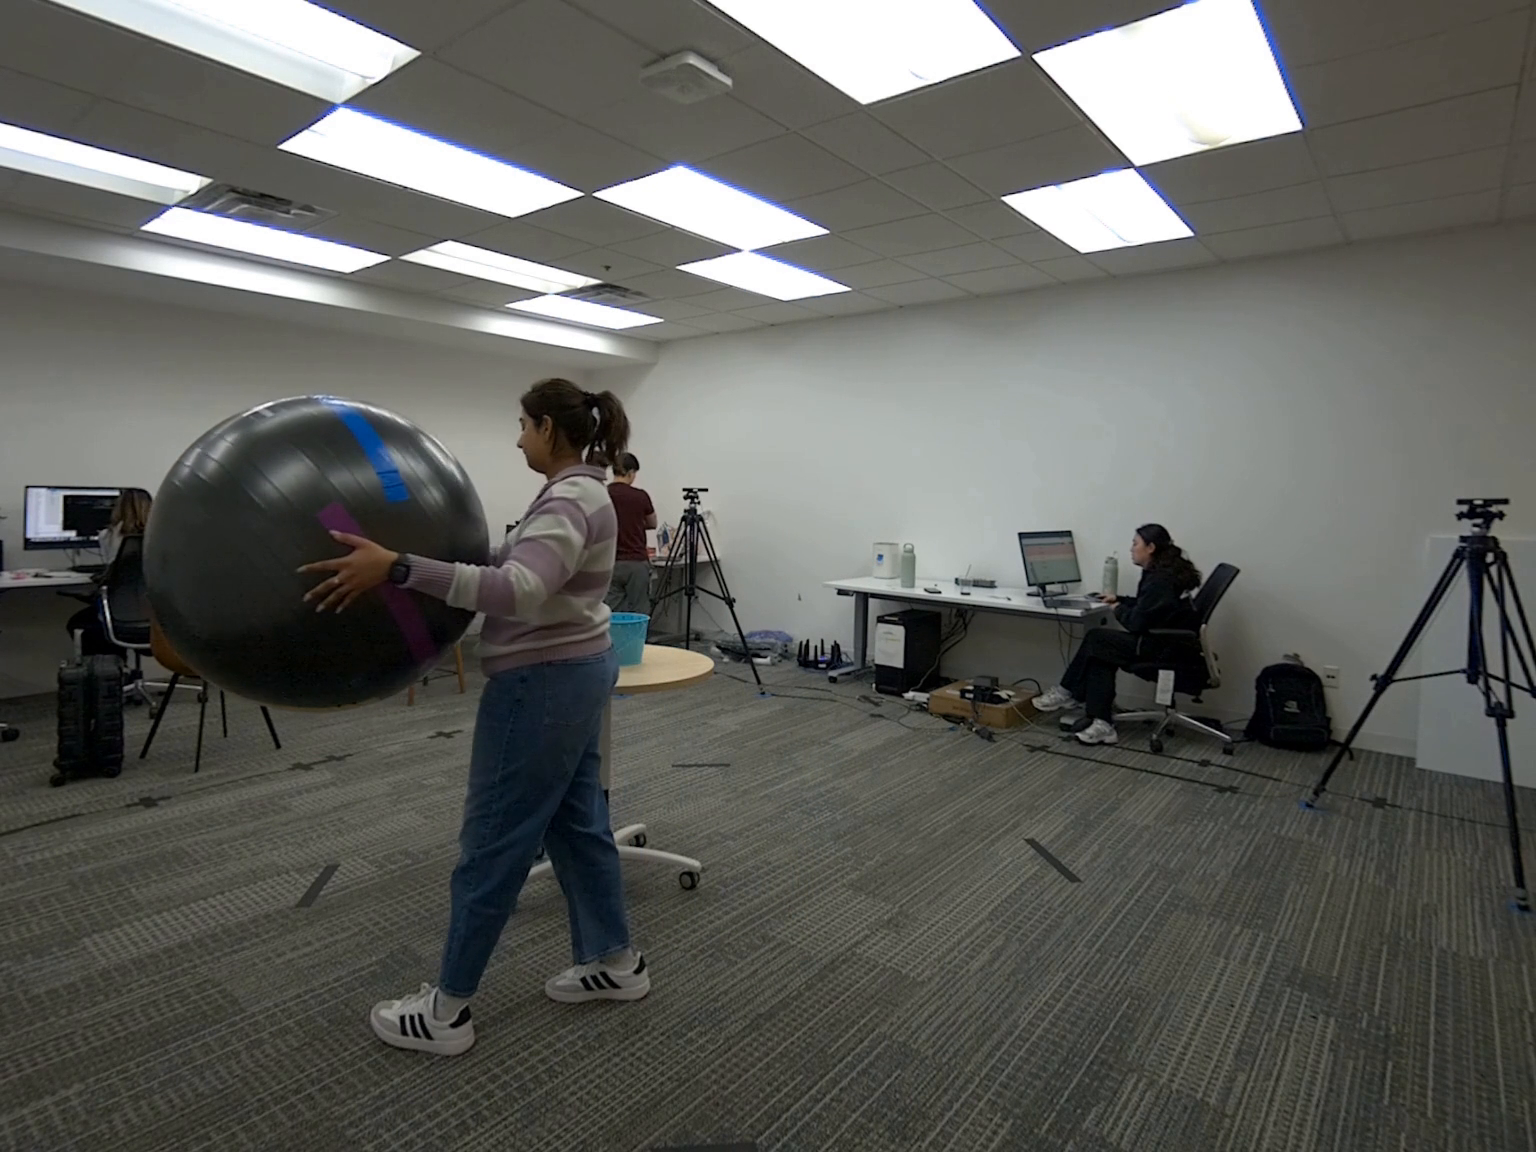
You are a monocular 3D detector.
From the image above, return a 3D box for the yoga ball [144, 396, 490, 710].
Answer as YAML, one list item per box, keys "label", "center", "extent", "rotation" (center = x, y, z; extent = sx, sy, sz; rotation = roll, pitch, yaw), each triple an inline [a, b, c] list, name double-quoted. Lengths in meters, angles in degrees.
- label: "yoga ball"
  center: [-1.089, -0.052, 2.057]
  extent: [0.757, 0.755, 0.762]
  rotation: [1, 4, -2]
